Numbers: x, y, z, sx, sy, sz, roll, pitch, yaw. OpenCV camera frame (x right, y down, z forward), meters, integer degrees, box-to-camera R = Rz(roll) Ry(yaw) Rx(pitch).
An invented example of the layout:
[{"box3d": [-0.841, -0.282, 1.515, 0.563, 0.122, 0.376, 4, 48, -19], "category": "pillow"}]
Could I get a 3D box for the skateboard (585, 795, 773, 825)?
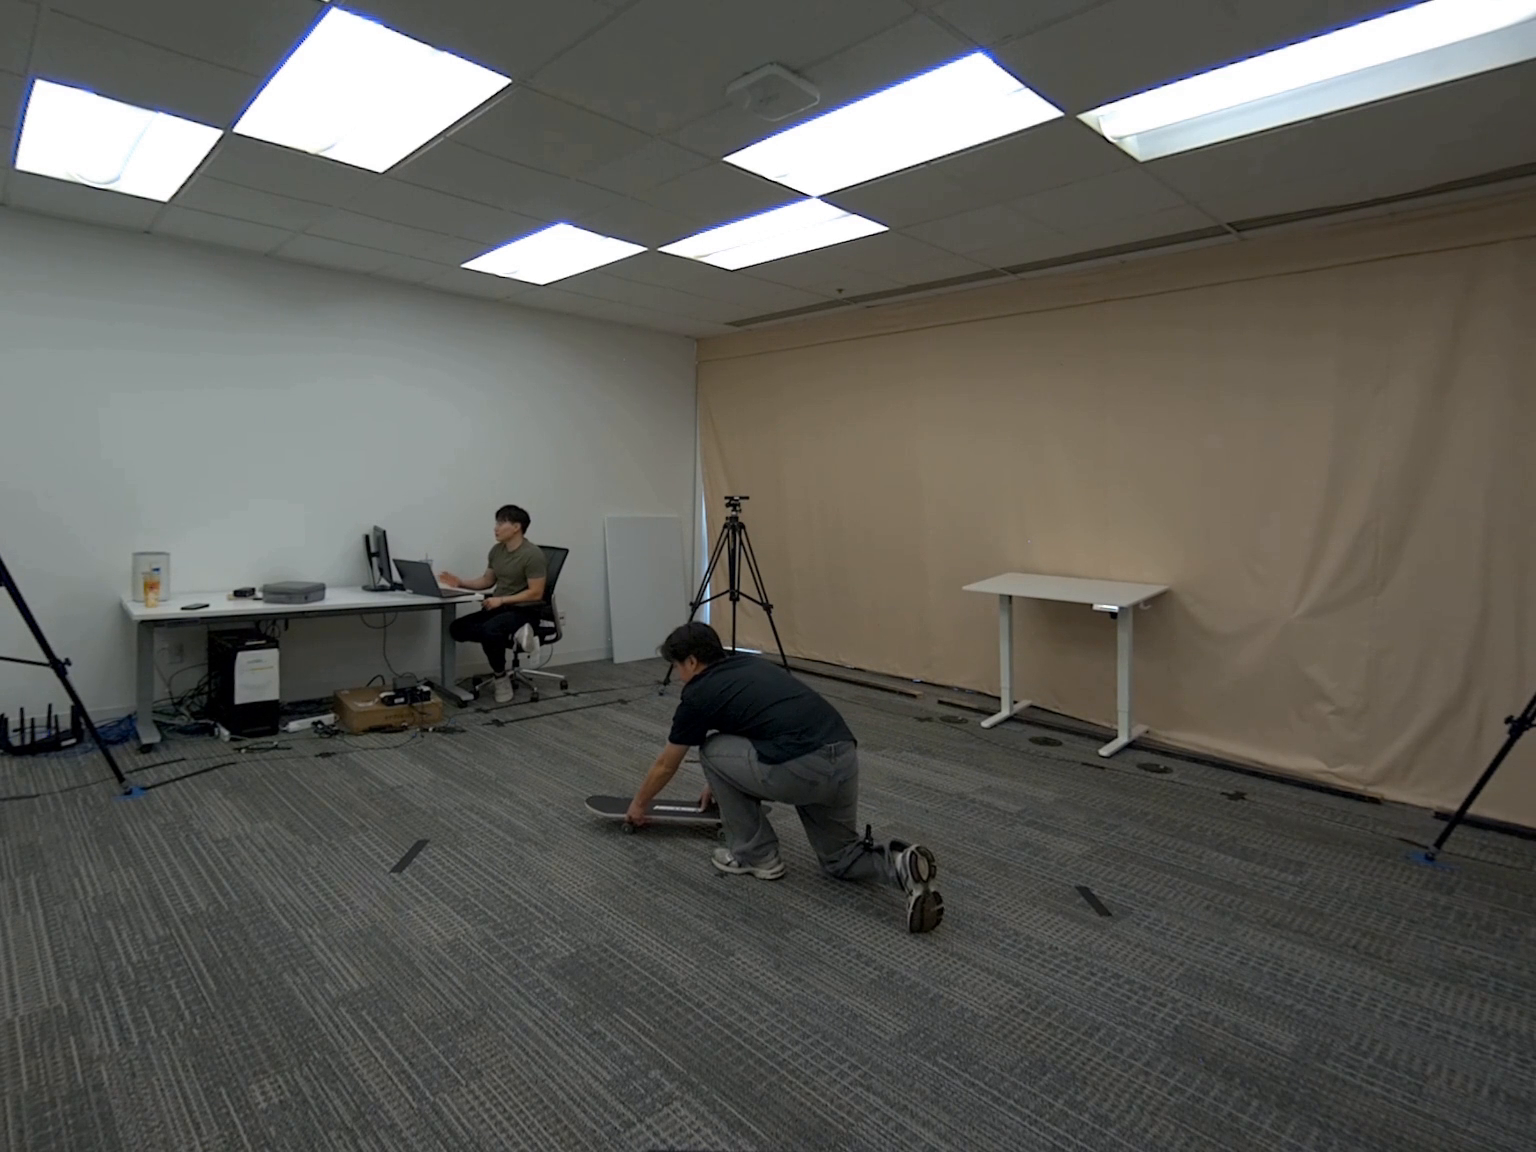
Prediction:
[{"box3d": [-0.381, 1.003, 3.512, 0.788, 0.110, 0.193, 2, 5, 3], "category": "skateboard"}]
